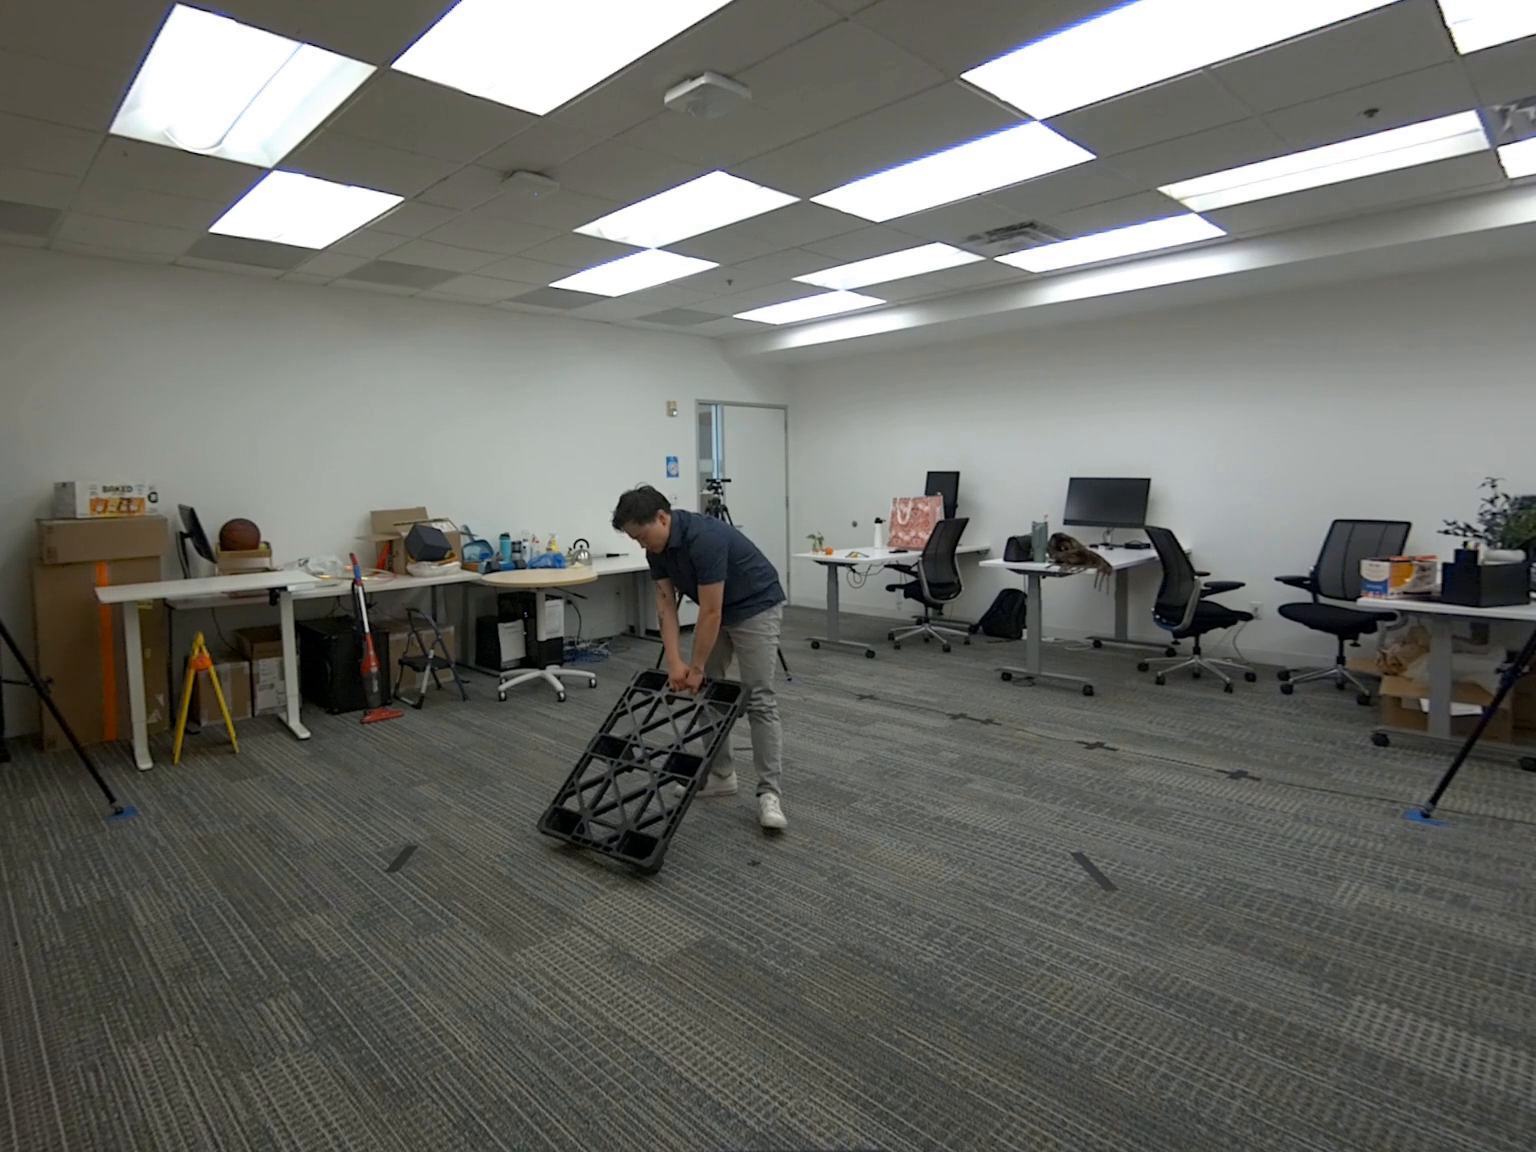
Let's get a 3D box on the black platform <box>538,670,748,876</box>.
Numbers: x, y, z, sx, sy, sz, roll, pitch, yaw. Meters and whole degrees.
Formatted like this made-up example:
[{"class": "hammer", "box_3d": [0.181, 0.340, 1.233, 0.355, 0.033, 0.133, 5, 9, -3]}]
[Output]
[{"class": "black platform", "box_3d": [-0.453, 0.736, 3.348, 0.622, 0.138, 0.811, 2, 47, 35]}]
